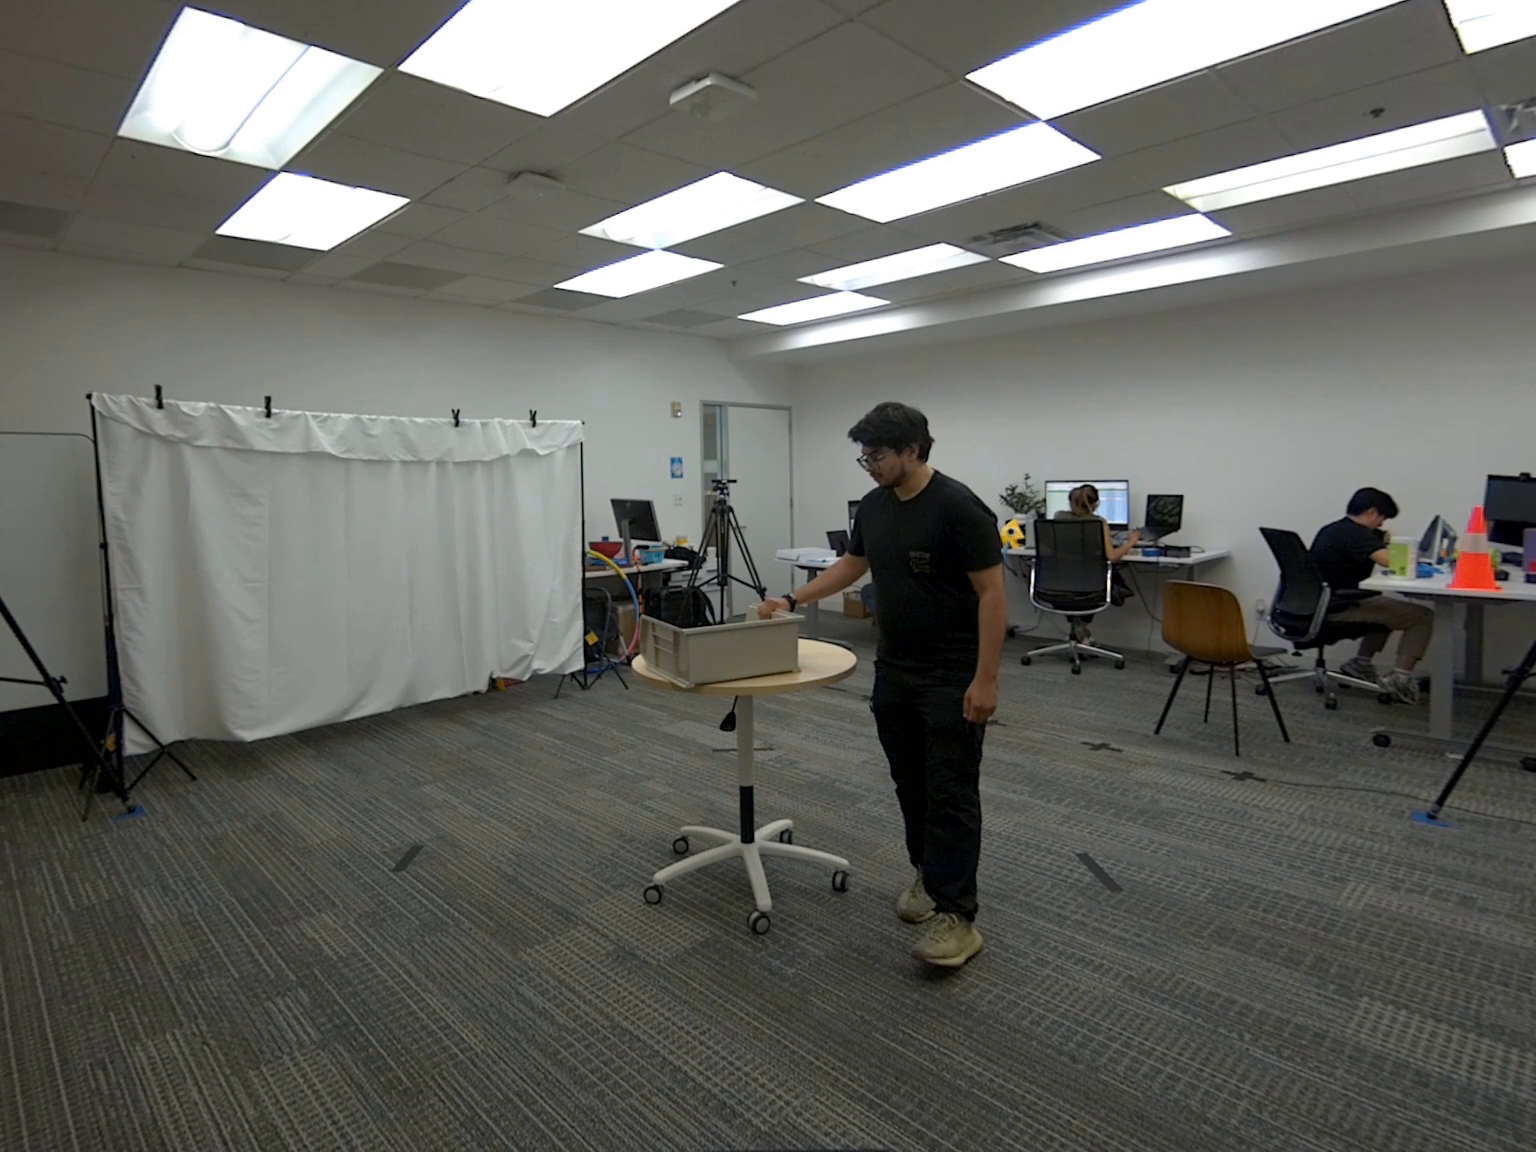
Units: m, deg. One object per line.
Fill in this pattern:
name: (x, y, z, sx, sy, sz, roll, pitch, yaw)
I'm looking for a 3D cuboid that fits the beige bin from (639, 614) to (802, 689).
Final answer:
beige bin: (-0.152, 0.214, 2.780, 0.413, 0.188, 0.388, -4, 8, -29)
